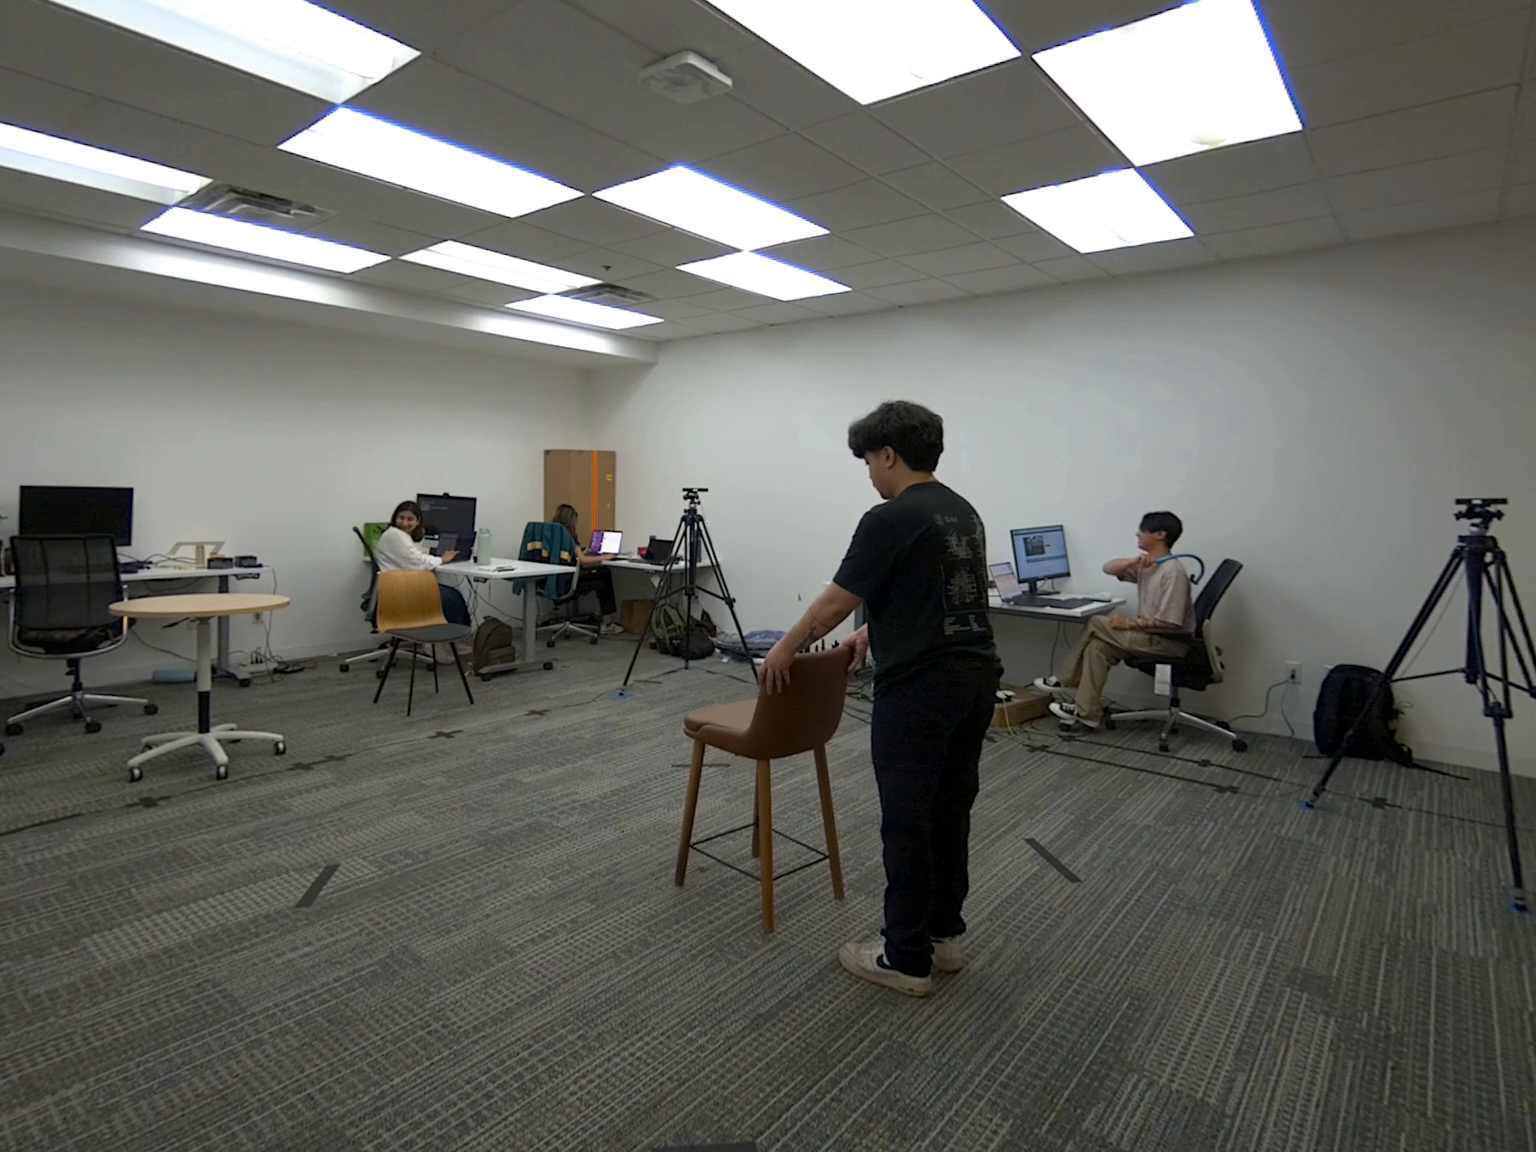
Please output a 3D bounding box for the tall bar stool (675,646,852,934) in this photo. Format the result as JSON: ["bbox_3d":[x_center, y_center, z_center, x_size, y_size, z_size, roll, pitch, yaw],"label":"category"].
[{"bbox_3d":[-0.016,0.653,2.923,0.442,0.886,0.484,-1,6,-44],"label":"tall bar stool"}]
